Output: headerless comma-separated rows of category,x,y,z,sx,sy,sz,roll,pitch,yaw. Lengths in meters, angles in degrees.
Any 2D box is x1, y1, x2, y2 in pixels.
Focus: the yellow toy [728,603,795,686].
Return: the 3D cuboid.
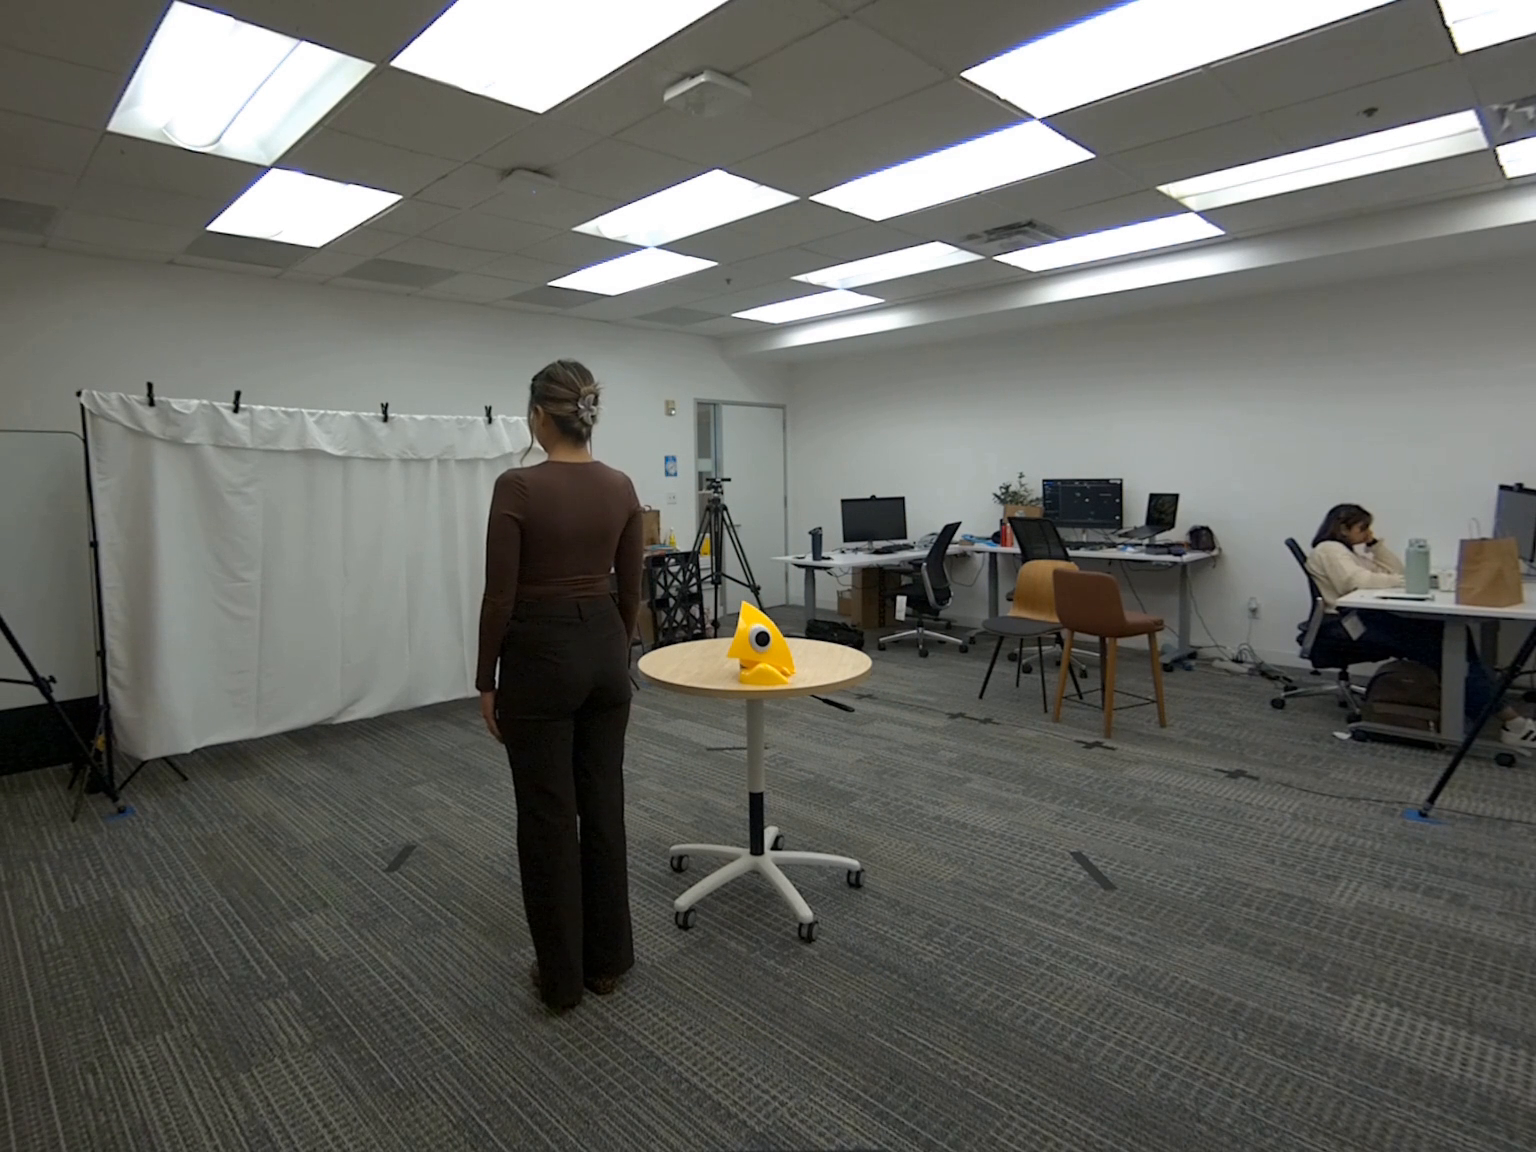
yellow toy,-0.011,0.194,2.584,0.195,0.230,0.203,1,5,12
